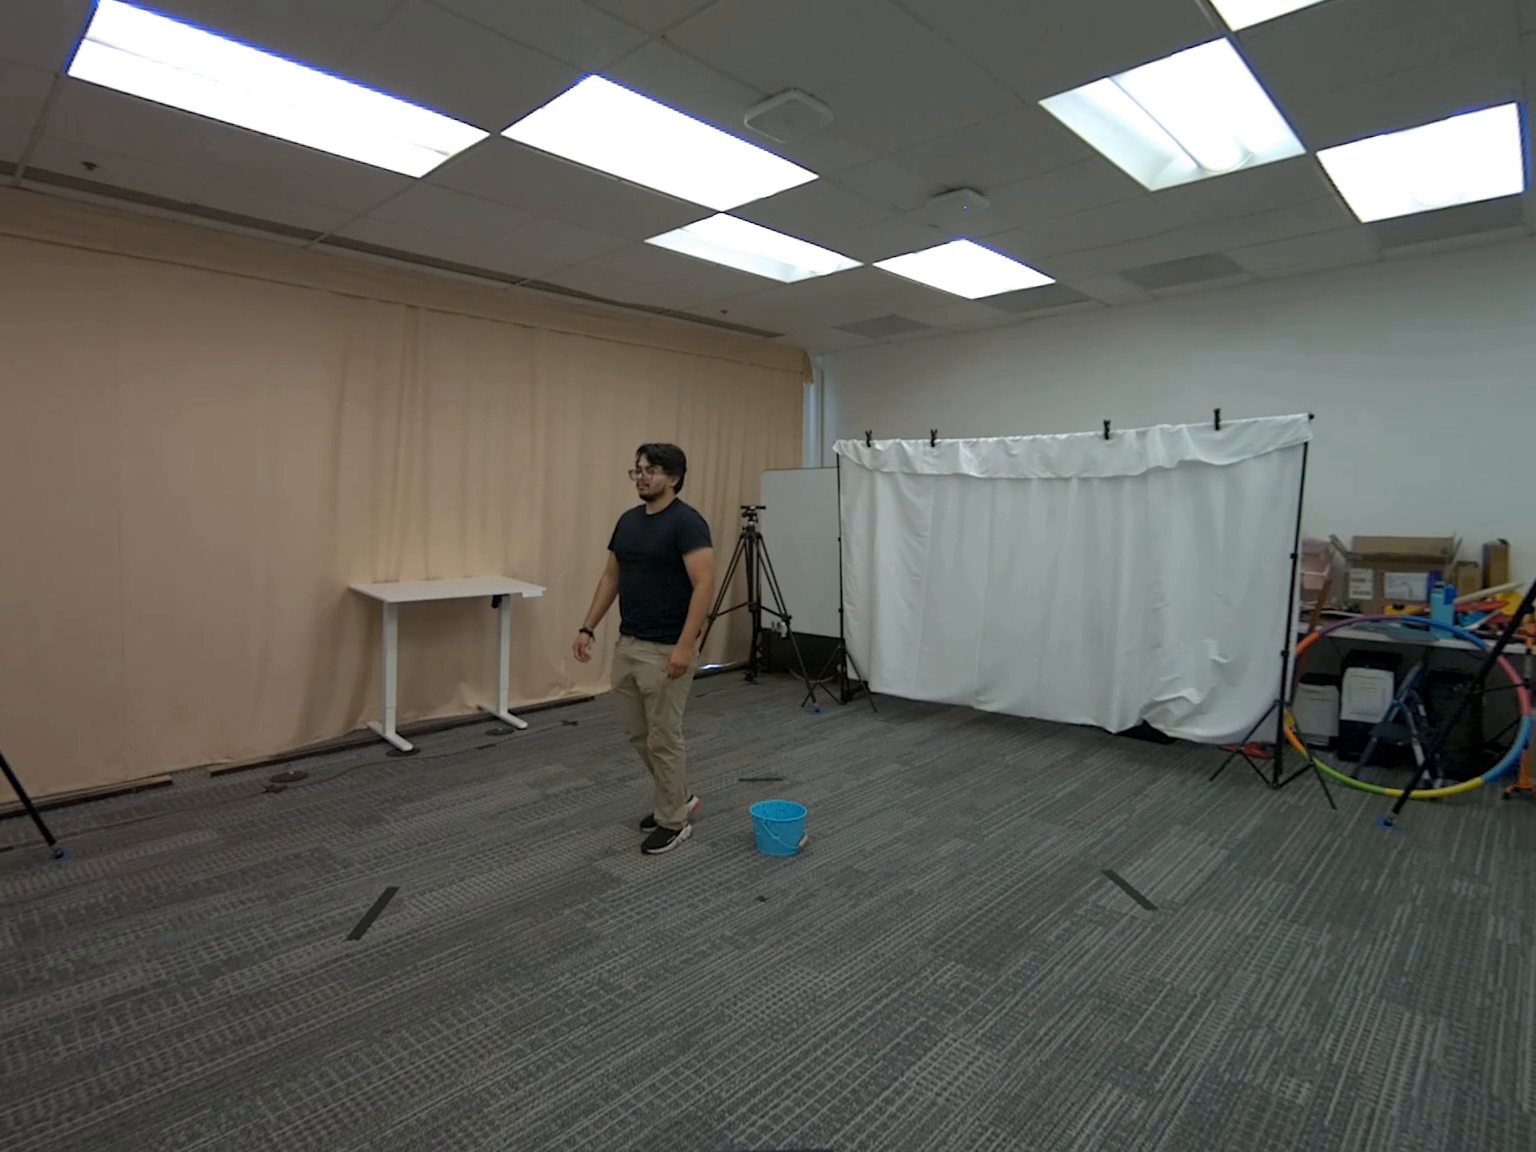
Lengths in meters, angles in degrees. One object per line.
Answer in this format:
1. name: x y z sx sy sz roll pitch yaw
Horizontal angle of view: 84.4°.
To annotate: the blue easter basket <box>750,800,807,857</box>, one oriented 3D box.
1. blue easter basket: 0.044 1.027 3.426 0.243 0.155 0.244 0 4 -2
